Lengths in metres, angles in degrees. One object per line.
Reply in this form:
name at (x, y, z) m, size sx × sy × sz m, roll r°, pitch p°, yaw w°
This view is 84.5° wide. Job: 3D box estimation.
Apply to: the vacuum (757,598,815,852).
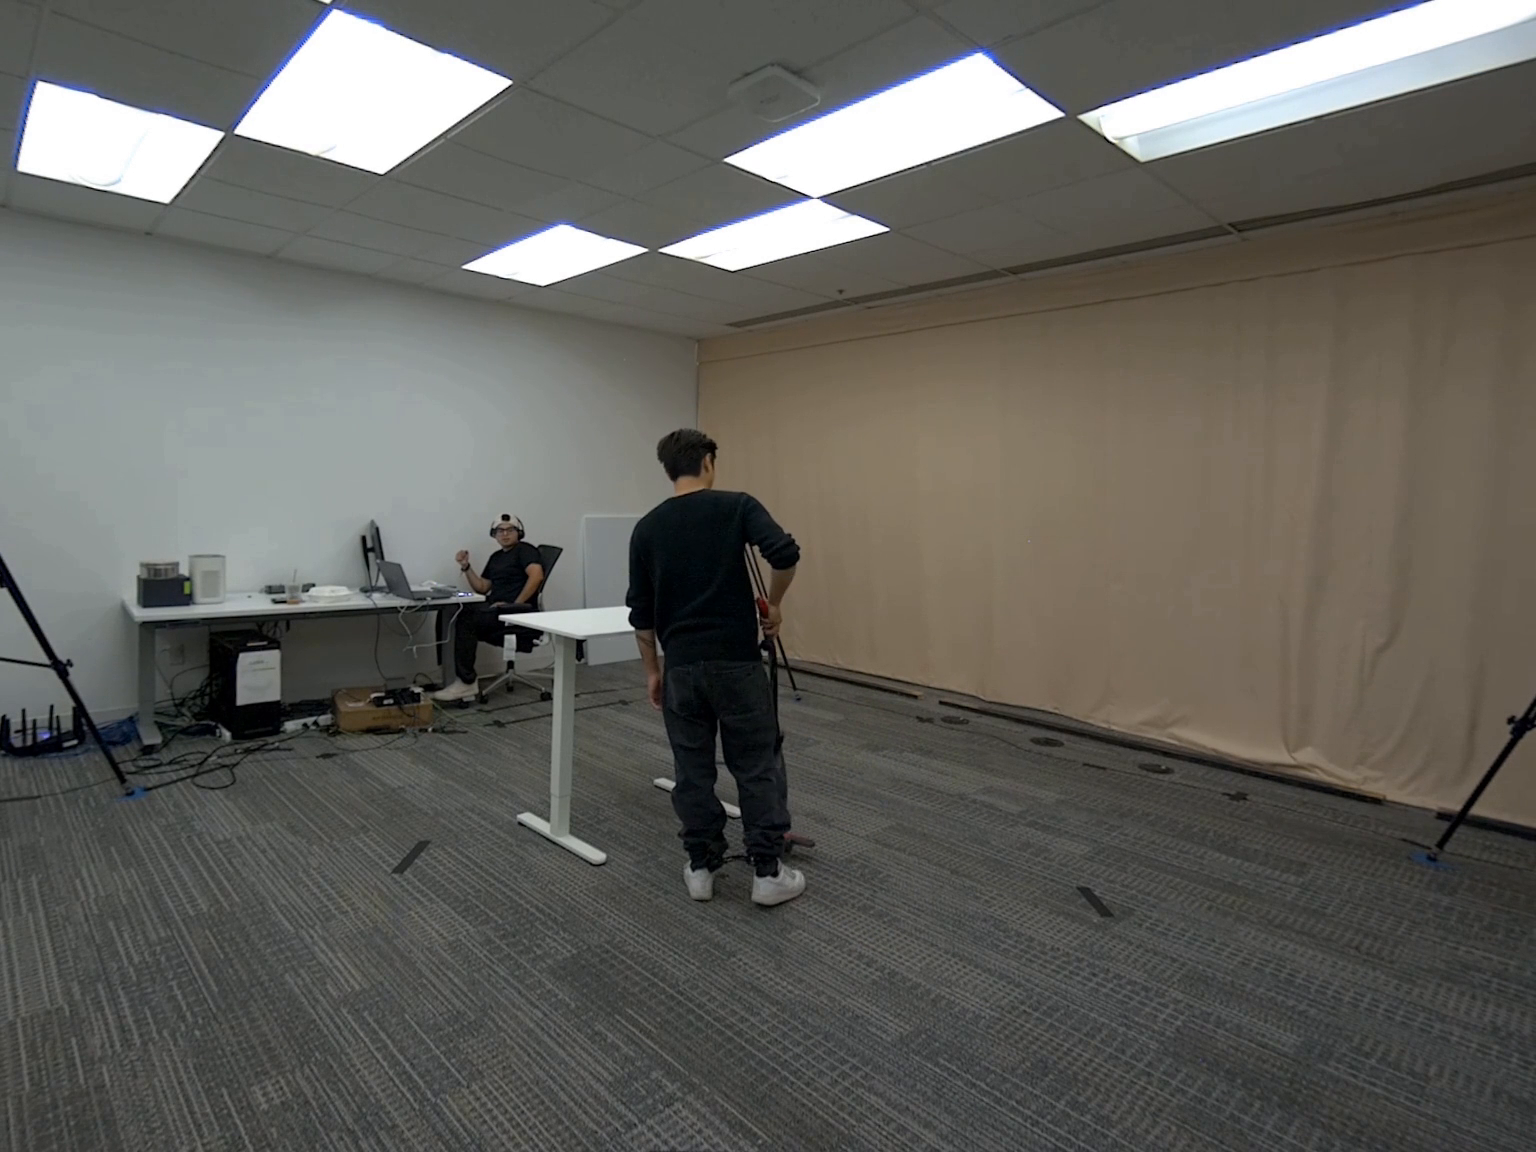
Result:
vacuum at (0.009, 0.571, 3.105) m, size 0.258 × 1.034 × 0.143 m, roll 8°, pitch 22°, yaw 29°
